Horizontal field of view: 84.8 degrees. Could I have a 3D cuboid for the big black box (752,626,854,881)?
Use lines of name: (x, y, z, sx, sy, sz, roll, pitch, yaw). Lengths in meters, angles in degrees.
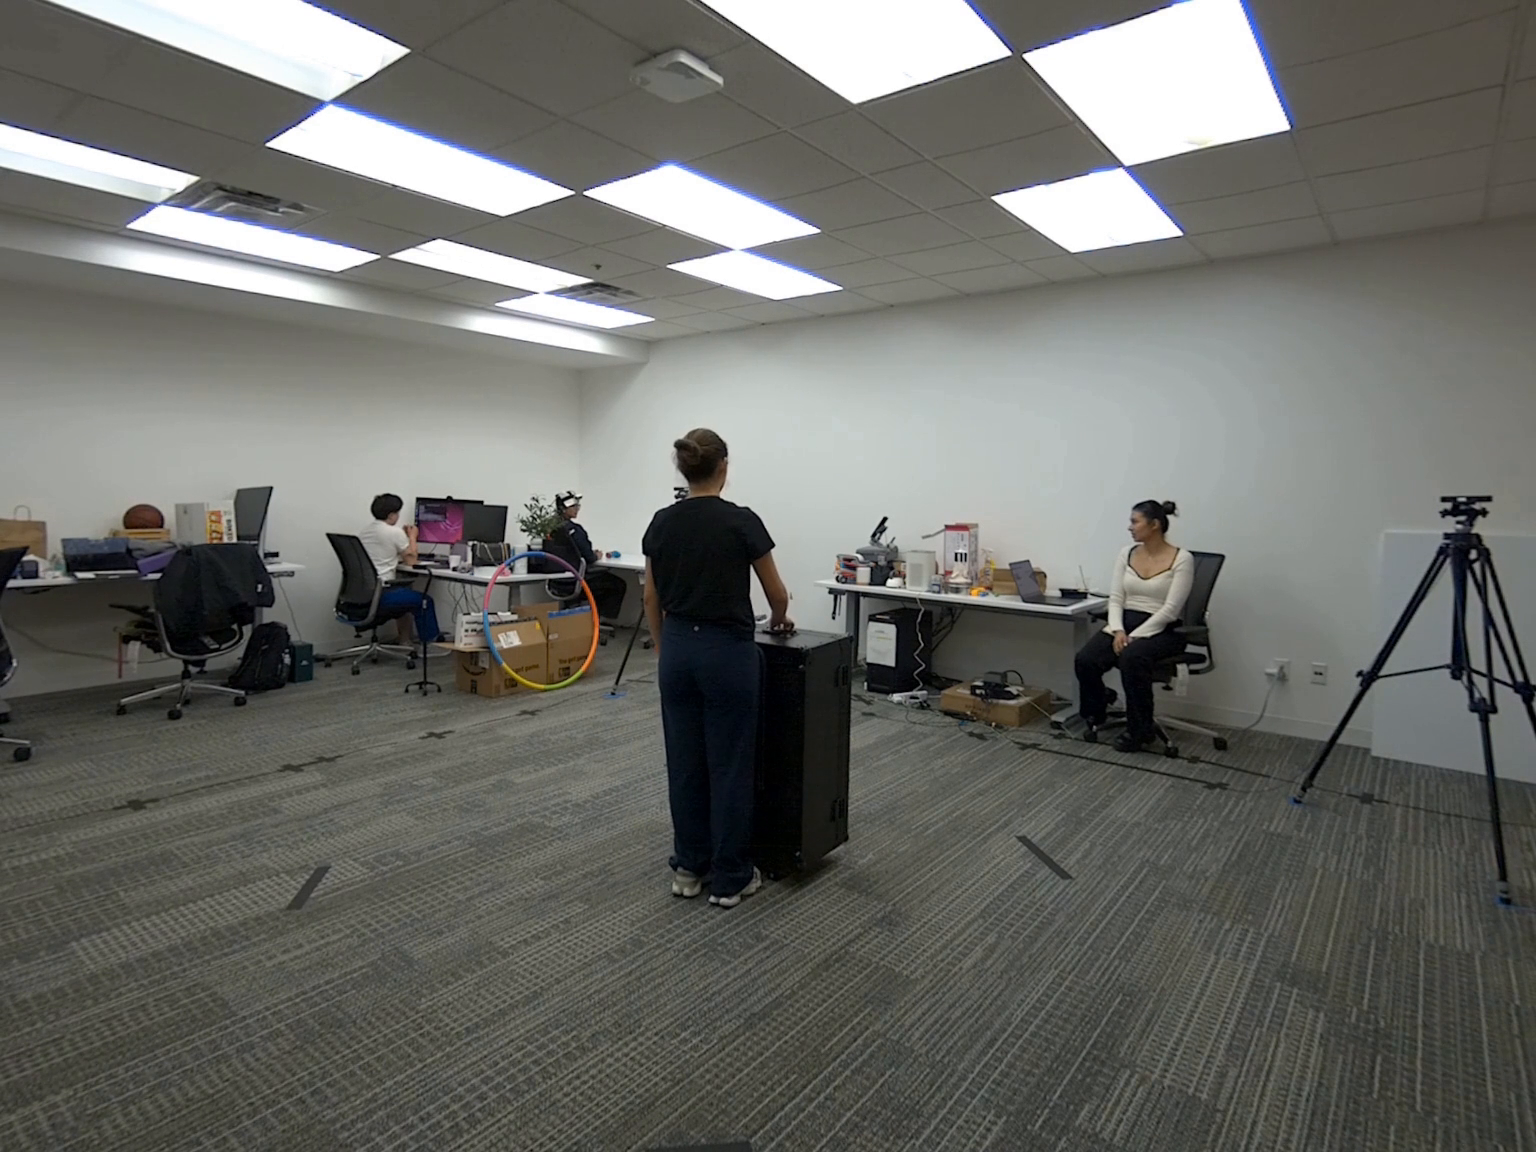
big black box: (0.029, 0.638, 3.205, 0.538, 0.859, 0.385, 3, 4, 35)
